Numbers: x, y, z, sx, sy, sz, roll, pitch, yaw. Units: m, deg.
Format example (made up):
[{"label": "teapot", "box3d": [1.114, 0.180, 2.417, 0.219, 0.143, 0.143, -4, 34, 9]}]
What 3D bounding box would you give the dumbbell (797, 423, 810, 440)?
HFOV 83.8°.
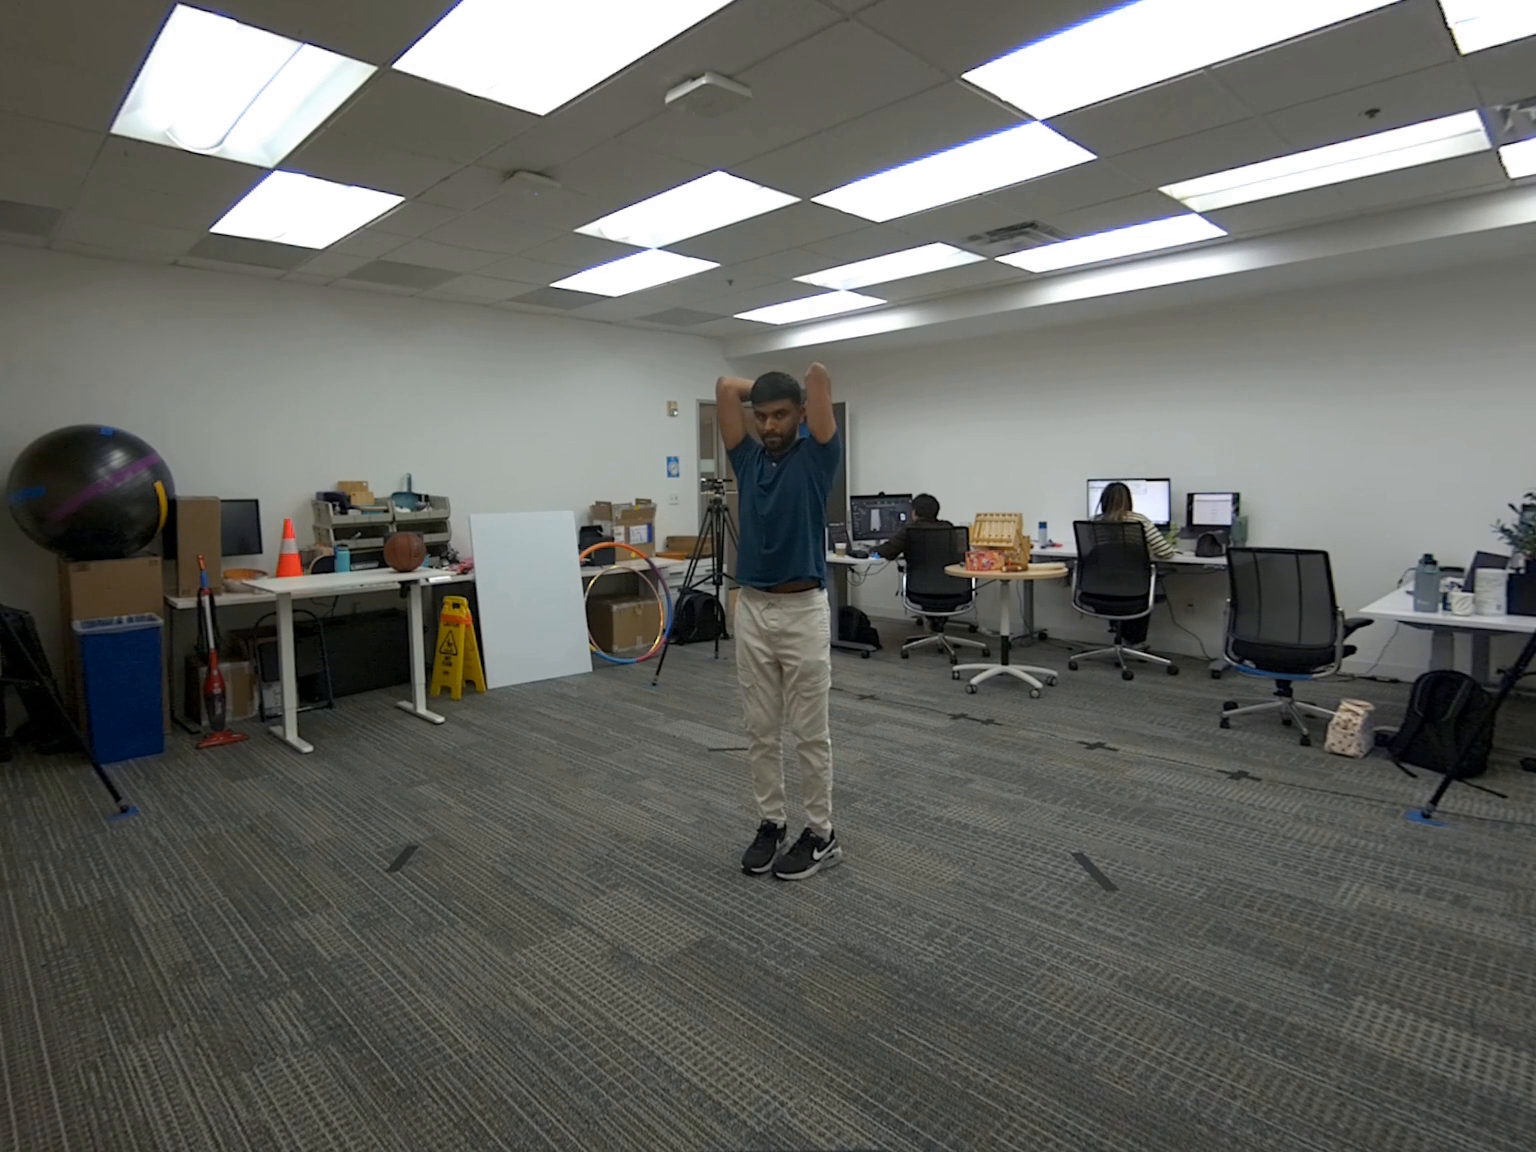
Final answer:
[{"label": "dumbbell", "box3d": [0.143, -0.561, 3.218, 0.112, 0.294, 0.119, 4, -1, 31]}]
